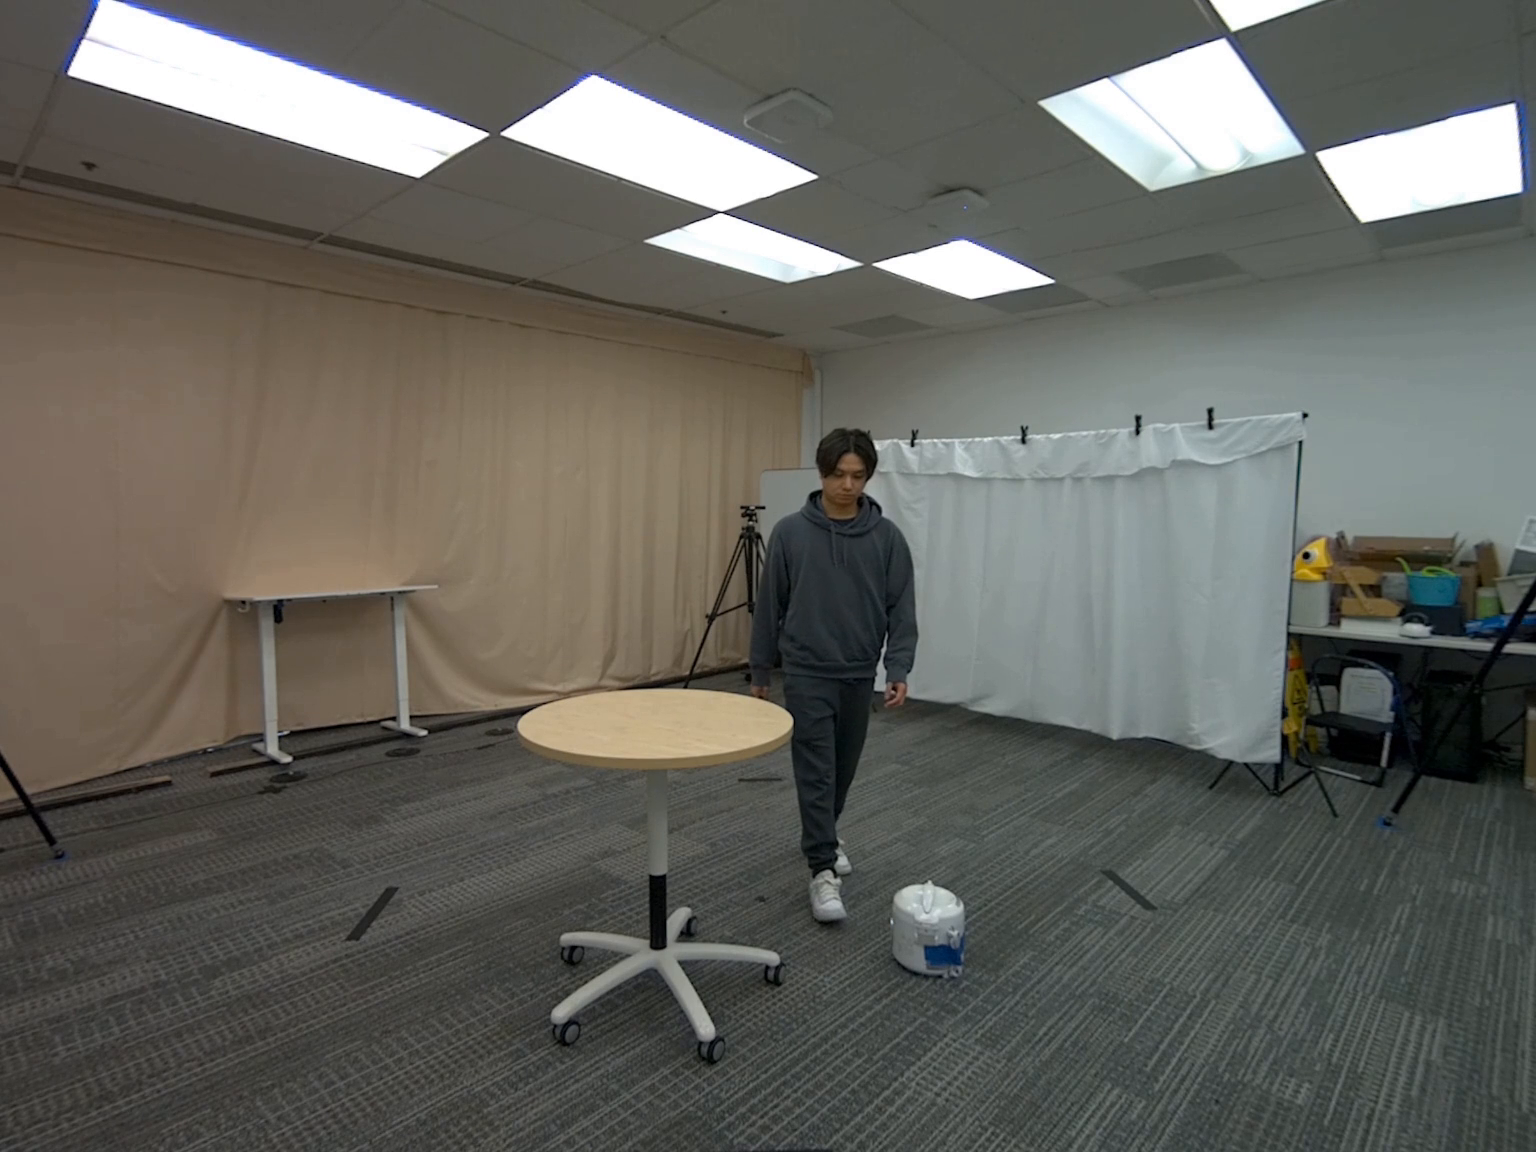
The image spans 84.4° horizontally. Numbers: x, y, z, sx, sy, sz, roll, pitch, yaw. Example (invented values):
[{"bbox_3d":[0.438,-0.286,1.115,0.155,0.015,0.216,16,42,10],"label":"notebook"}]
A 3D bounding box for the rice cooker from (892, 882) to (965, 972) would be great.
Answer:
[{"bbox_3d":[0.493,1.063,2.558,0.221,0.232,0.217,1,4,16],"label":"rice cooker"}]
